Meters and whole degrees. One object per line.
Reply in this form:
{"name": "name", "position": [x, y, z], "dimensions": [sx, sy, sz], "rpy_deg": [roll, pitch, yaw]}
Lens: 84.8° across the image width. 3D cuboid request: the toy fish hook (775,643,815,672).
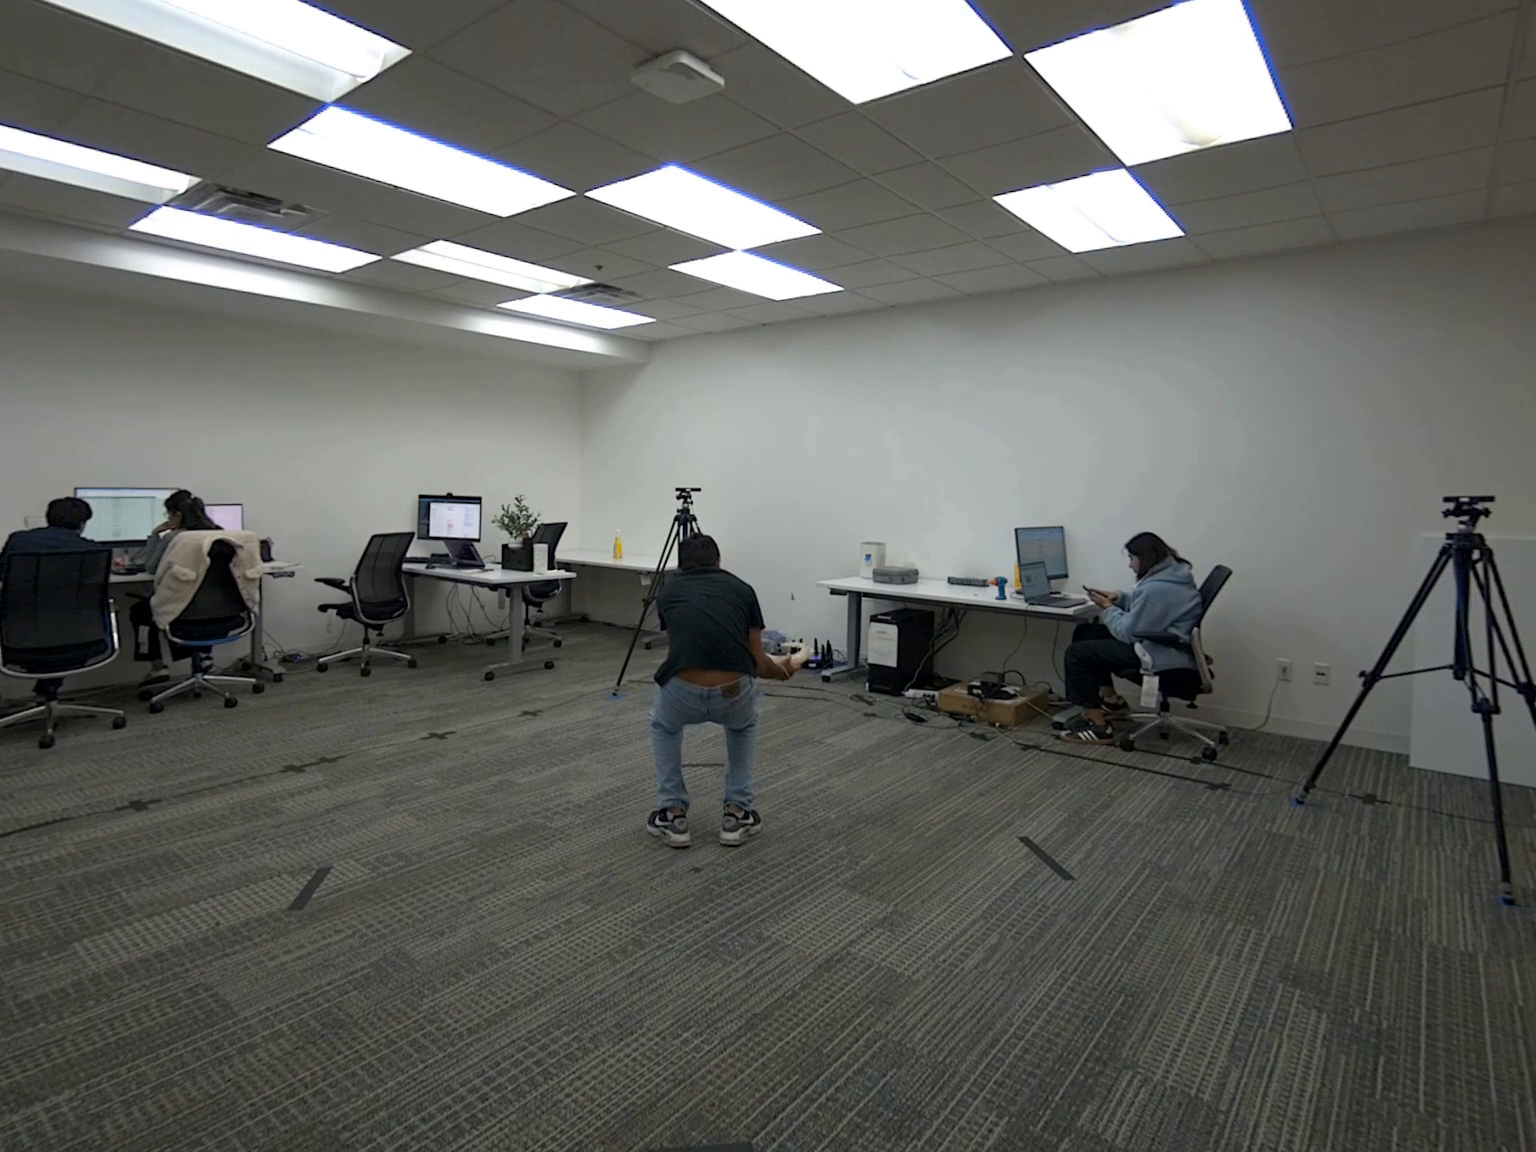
{"name": "toy fish hook", "position": [-0.048, 0.348, 3.923], "dimensions": [0.523, 0.047, 0.221], "rpy_deg": [4, 20, 35]}
